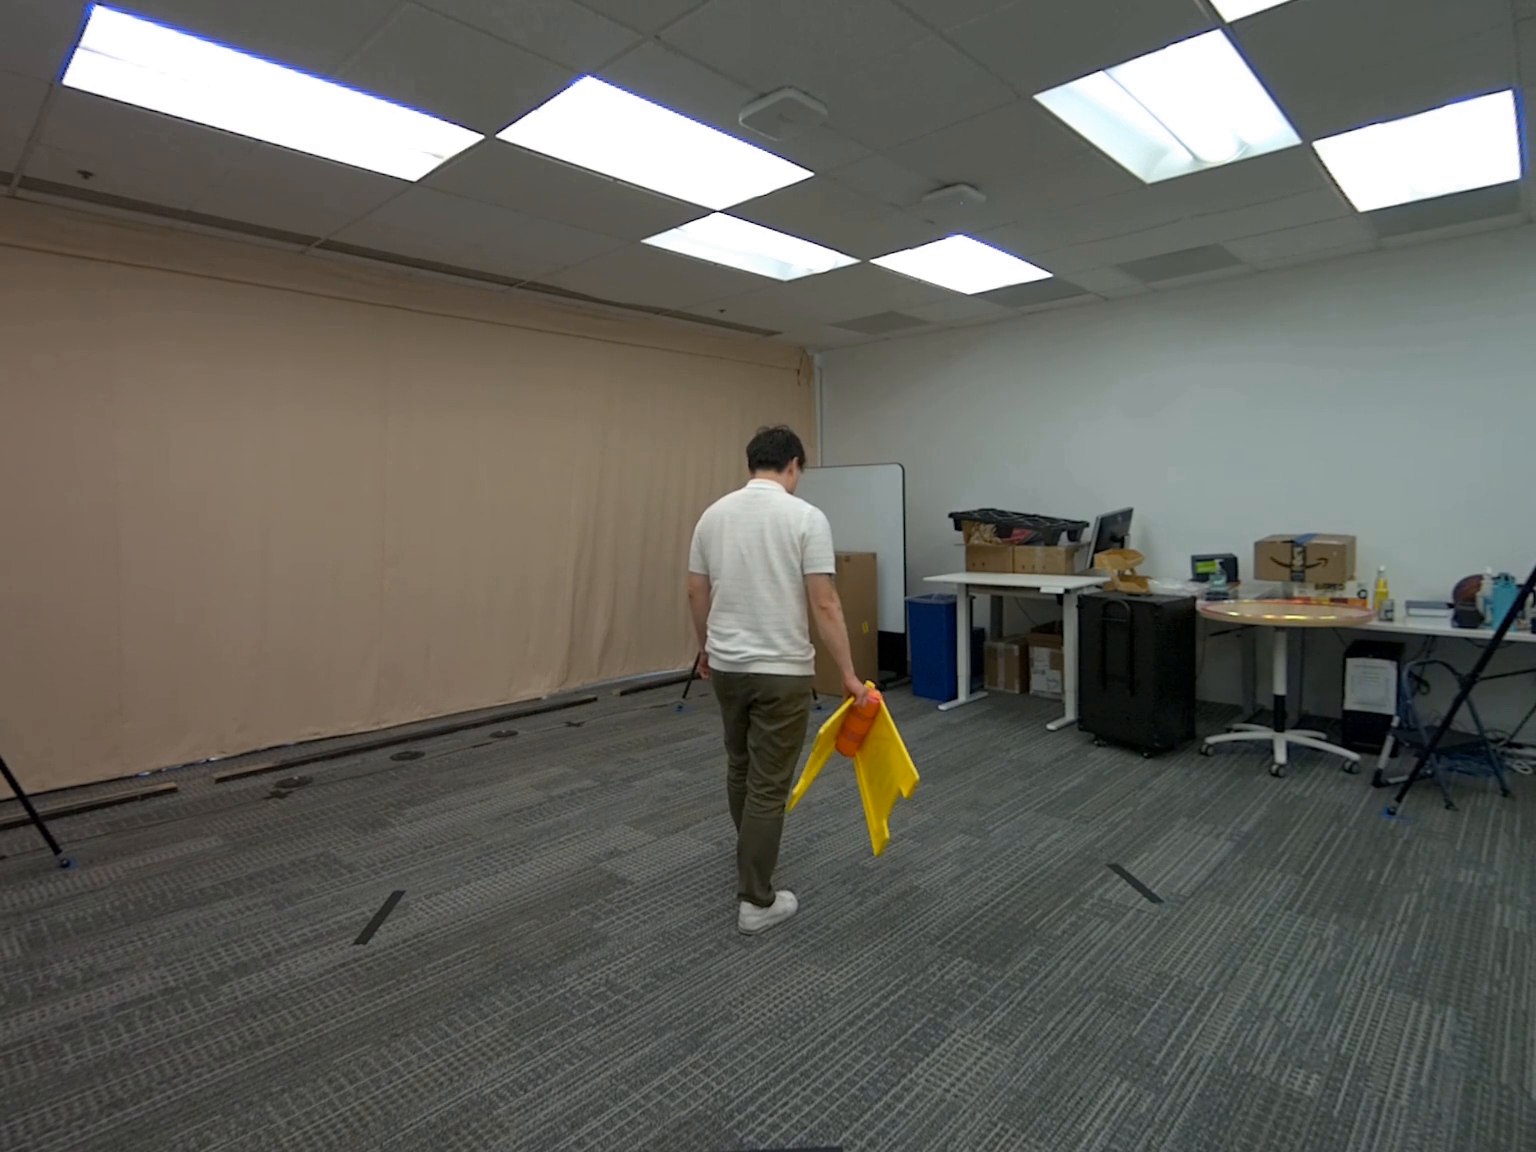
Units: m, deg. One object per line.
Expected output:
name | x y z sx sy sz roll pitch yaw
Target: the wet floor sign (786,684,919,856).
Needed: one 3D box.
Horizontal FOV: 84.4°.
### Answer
wet floor sign | 0.278 0.532 2.671 0.291 0.281 0.644 24 17 3
